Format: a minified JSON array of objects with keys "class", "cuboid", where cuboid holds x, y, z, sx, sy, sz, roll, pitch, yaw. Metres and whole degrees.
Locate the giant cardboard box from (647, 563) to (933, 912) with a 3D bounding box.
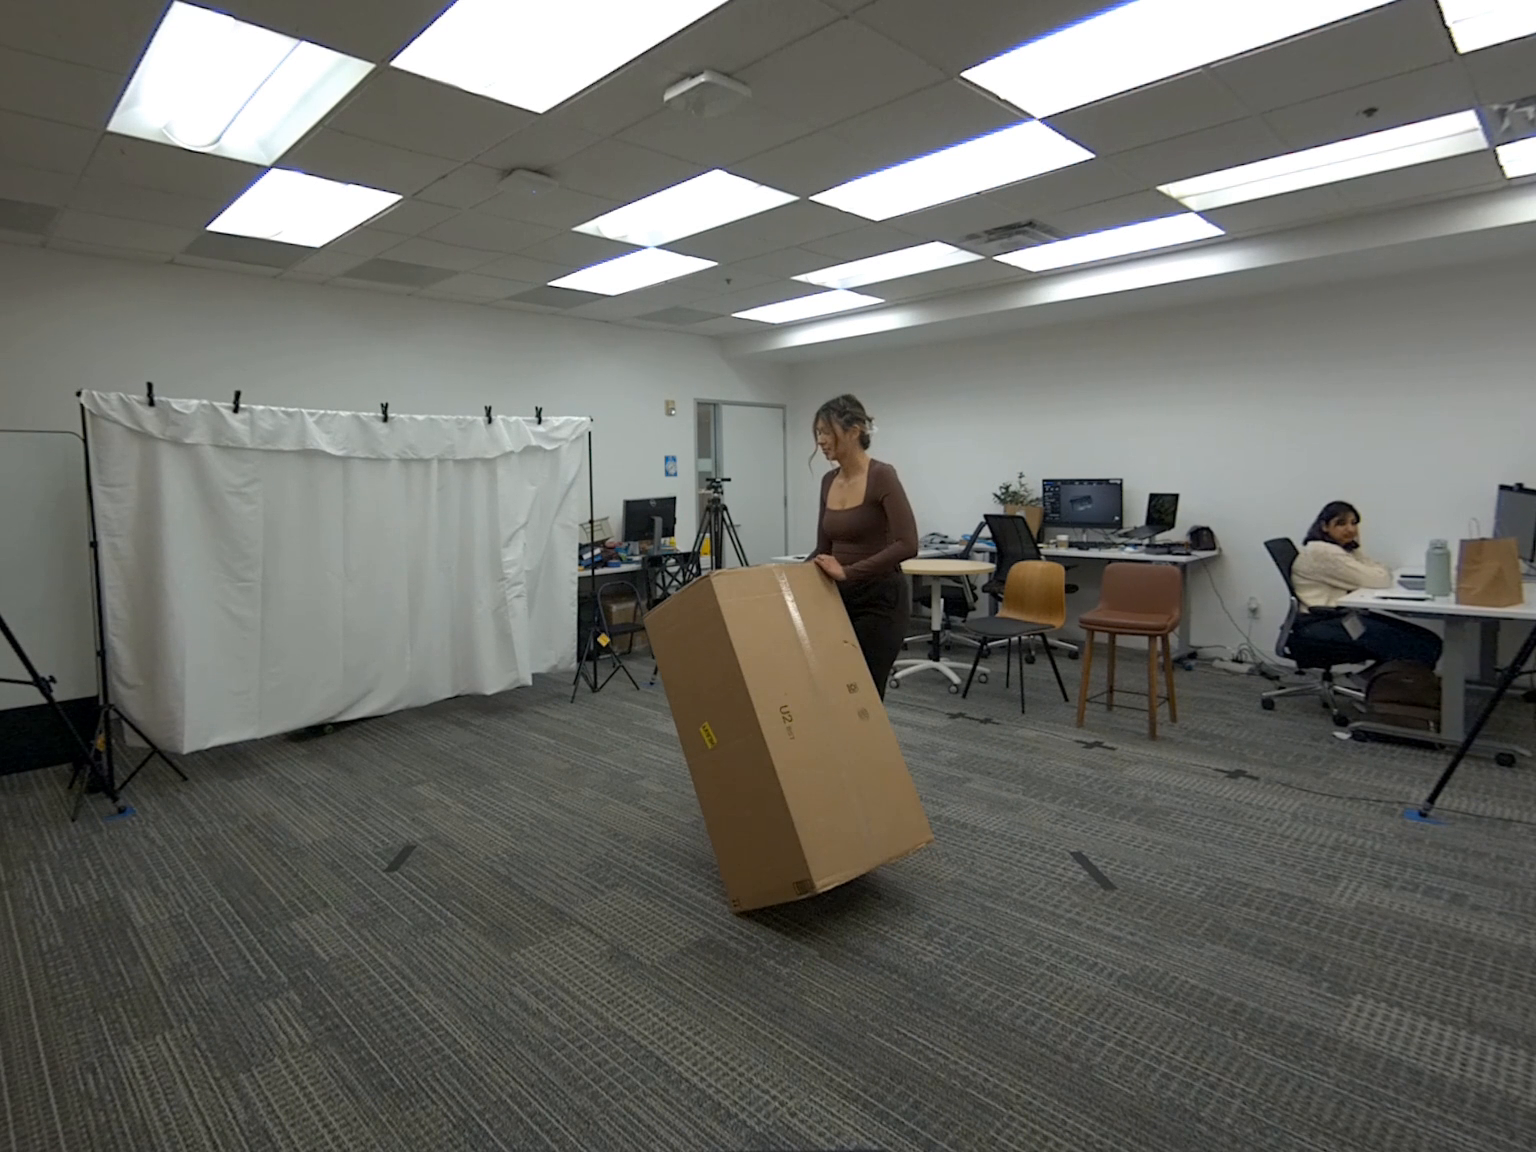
[{"class":"giant cardboard box","cuboid":[0.049,0.511,2.940,0.568,1.048,0.450,-4,-23,-41]}]
